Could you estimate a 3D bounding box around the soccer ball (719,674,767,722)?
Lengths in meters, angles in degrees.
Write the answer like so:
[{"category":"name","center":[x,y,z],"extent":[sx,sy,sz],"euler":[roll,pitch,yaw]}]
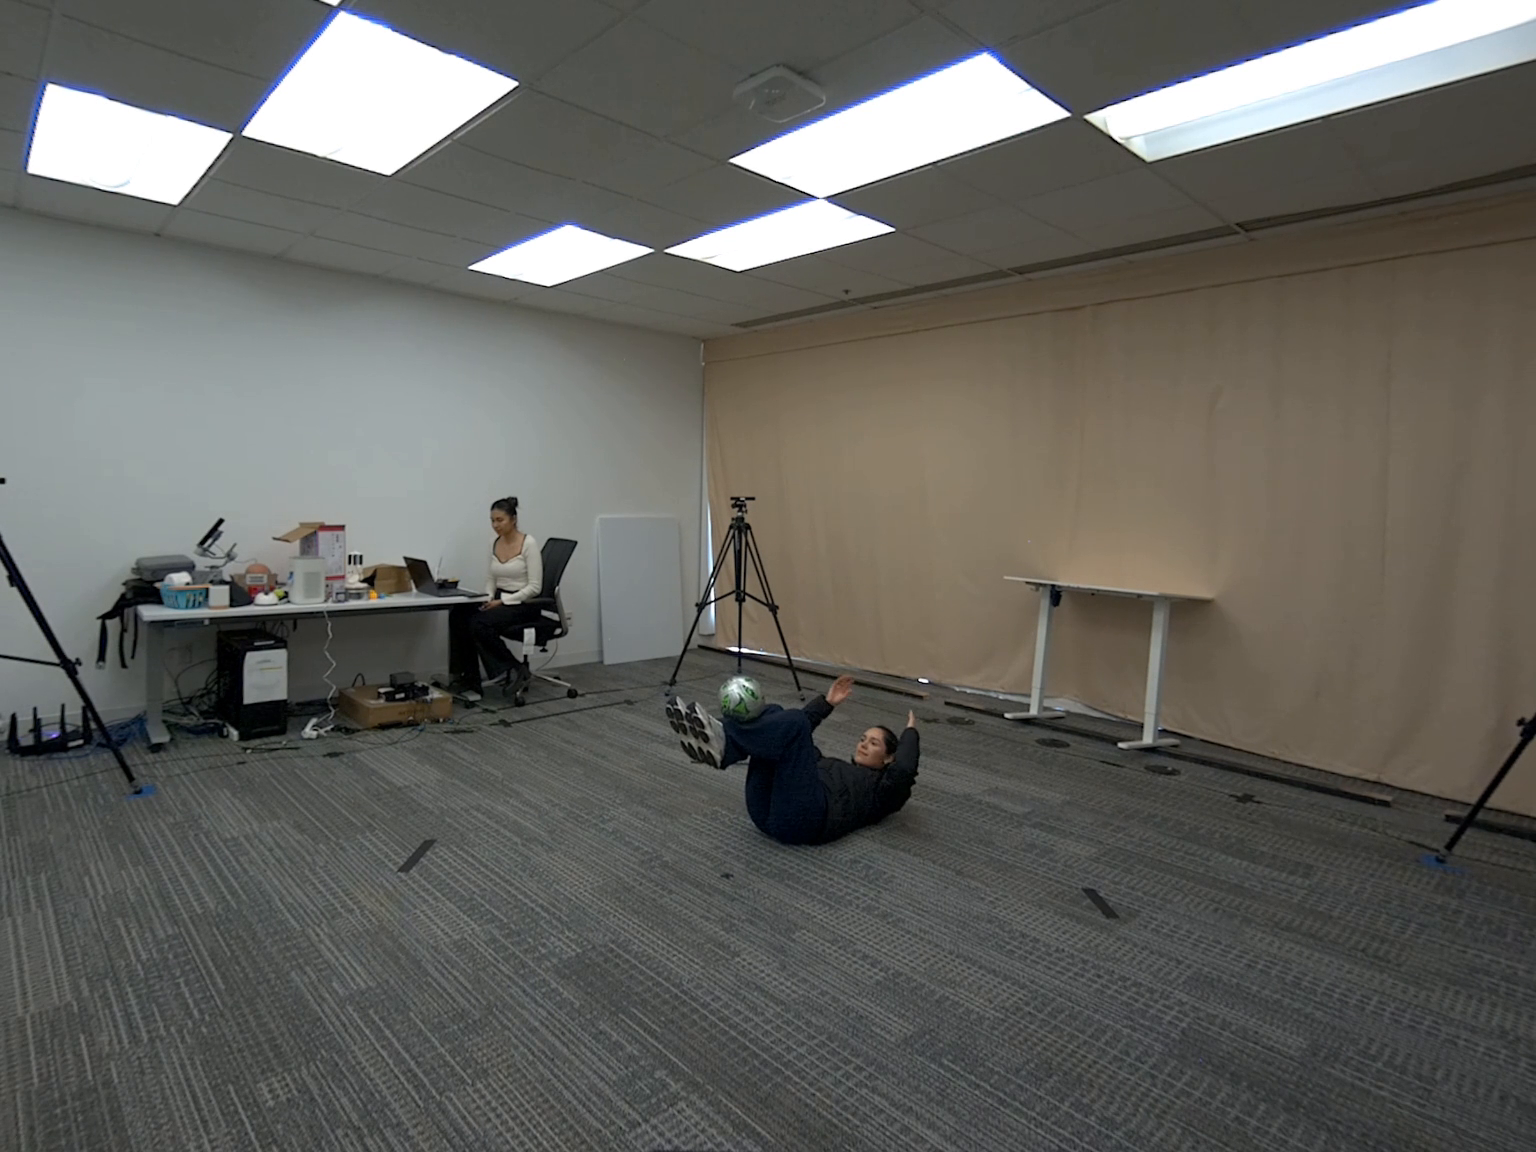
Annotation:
[{"category":"soccer ball","center":[-0.114,0.488,3.302],"extent":[0.187,0.186,0.188],"euler":[0,7,-1]}]
